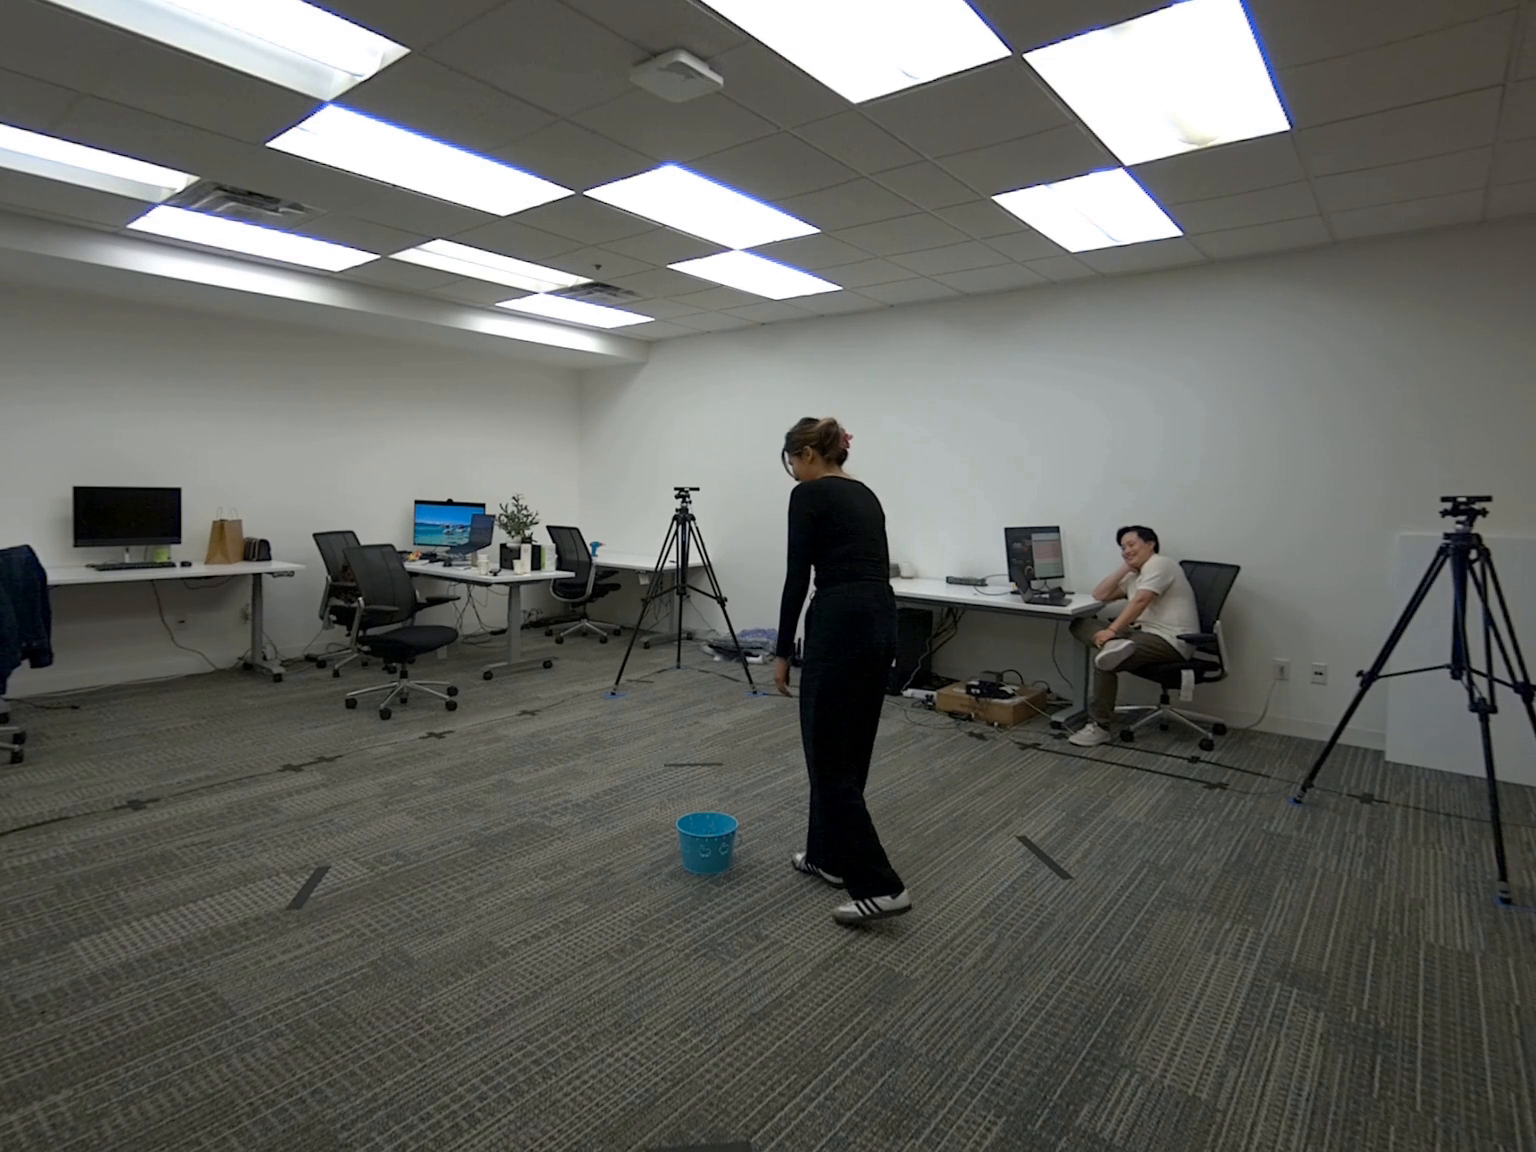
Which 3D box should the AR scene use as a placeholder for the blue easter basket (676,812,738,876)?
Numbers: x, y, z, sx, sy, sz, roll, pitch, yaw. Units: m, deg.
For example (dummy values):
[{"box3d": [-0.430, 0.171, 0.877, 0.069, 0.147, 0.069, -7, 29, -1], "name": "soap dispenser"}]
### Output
[{"box3d": [-0.228, 0.983, 3.148, 0.243, 0.155, 0.245, 1, 5, -2], "name": "blue easter basket"}]
